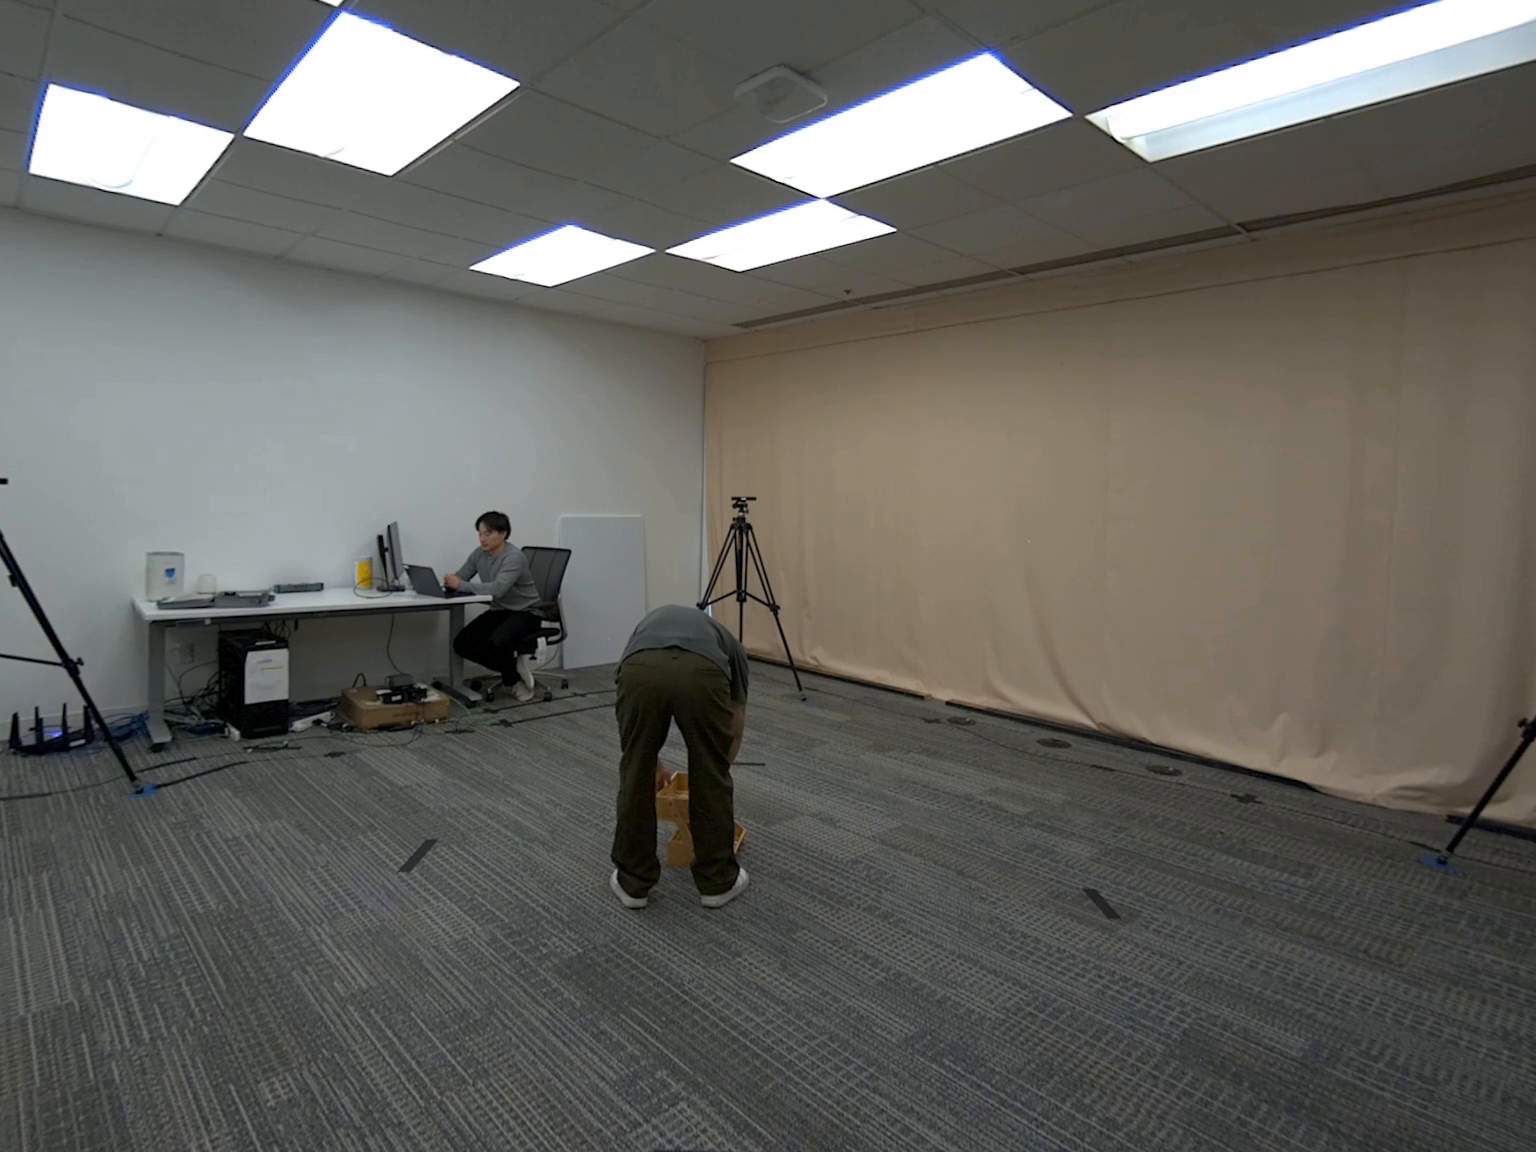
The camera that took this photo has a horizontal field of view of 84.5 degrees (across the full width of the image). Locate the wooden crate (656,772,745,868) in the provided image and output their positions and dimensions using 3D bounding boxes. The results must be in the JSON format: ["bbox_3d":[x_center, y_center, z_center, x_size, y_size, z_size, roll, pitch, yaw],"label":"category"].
[{"bbox_3d":[-0.260,0.950,3.306,0.304,0.272,0.323,2,4,8],"label":"wooden crate"}]
